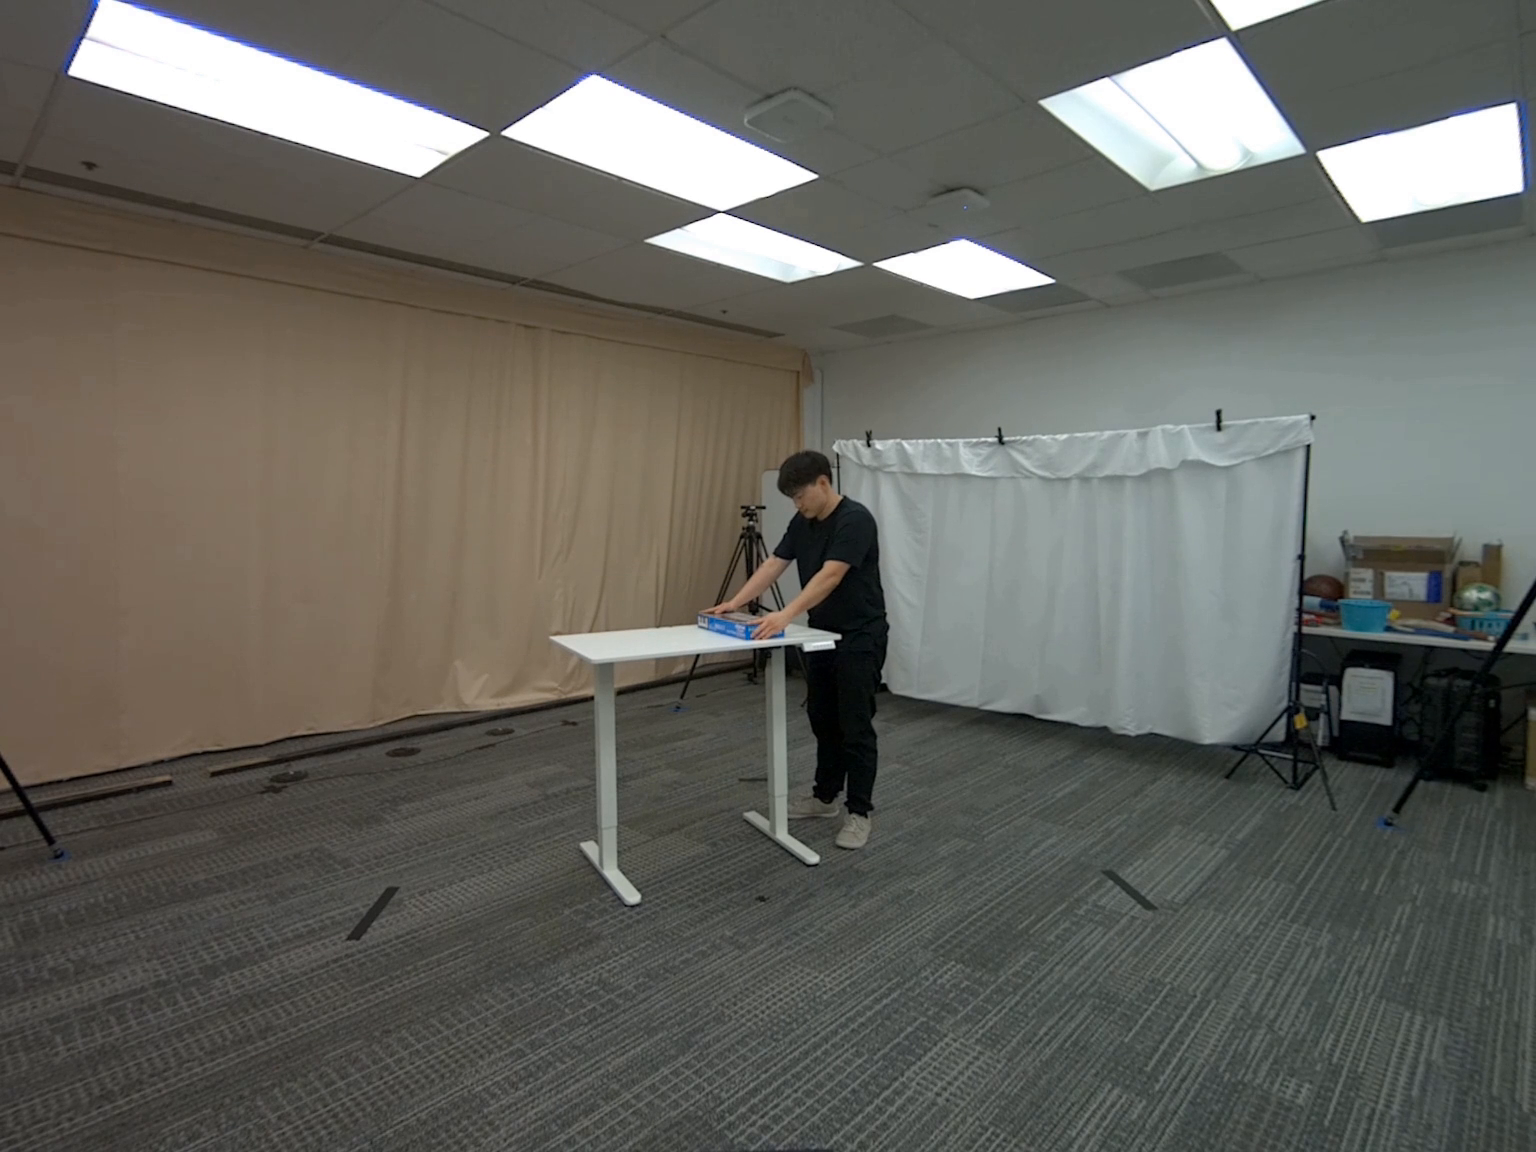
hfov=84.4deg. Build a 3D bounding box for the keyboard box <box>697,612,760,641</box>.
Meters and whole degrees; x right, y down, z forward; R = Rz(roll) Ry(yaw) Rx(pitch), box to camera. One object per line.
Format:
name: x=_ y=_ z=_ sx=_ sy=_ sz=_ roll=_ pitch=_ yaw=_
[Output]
keyboard box: x=-0.110 y=0.196 z=3.414 sx=0.172 sy=0.059 sz=0.448 roll=-3 pitch=6 yaw=-24
